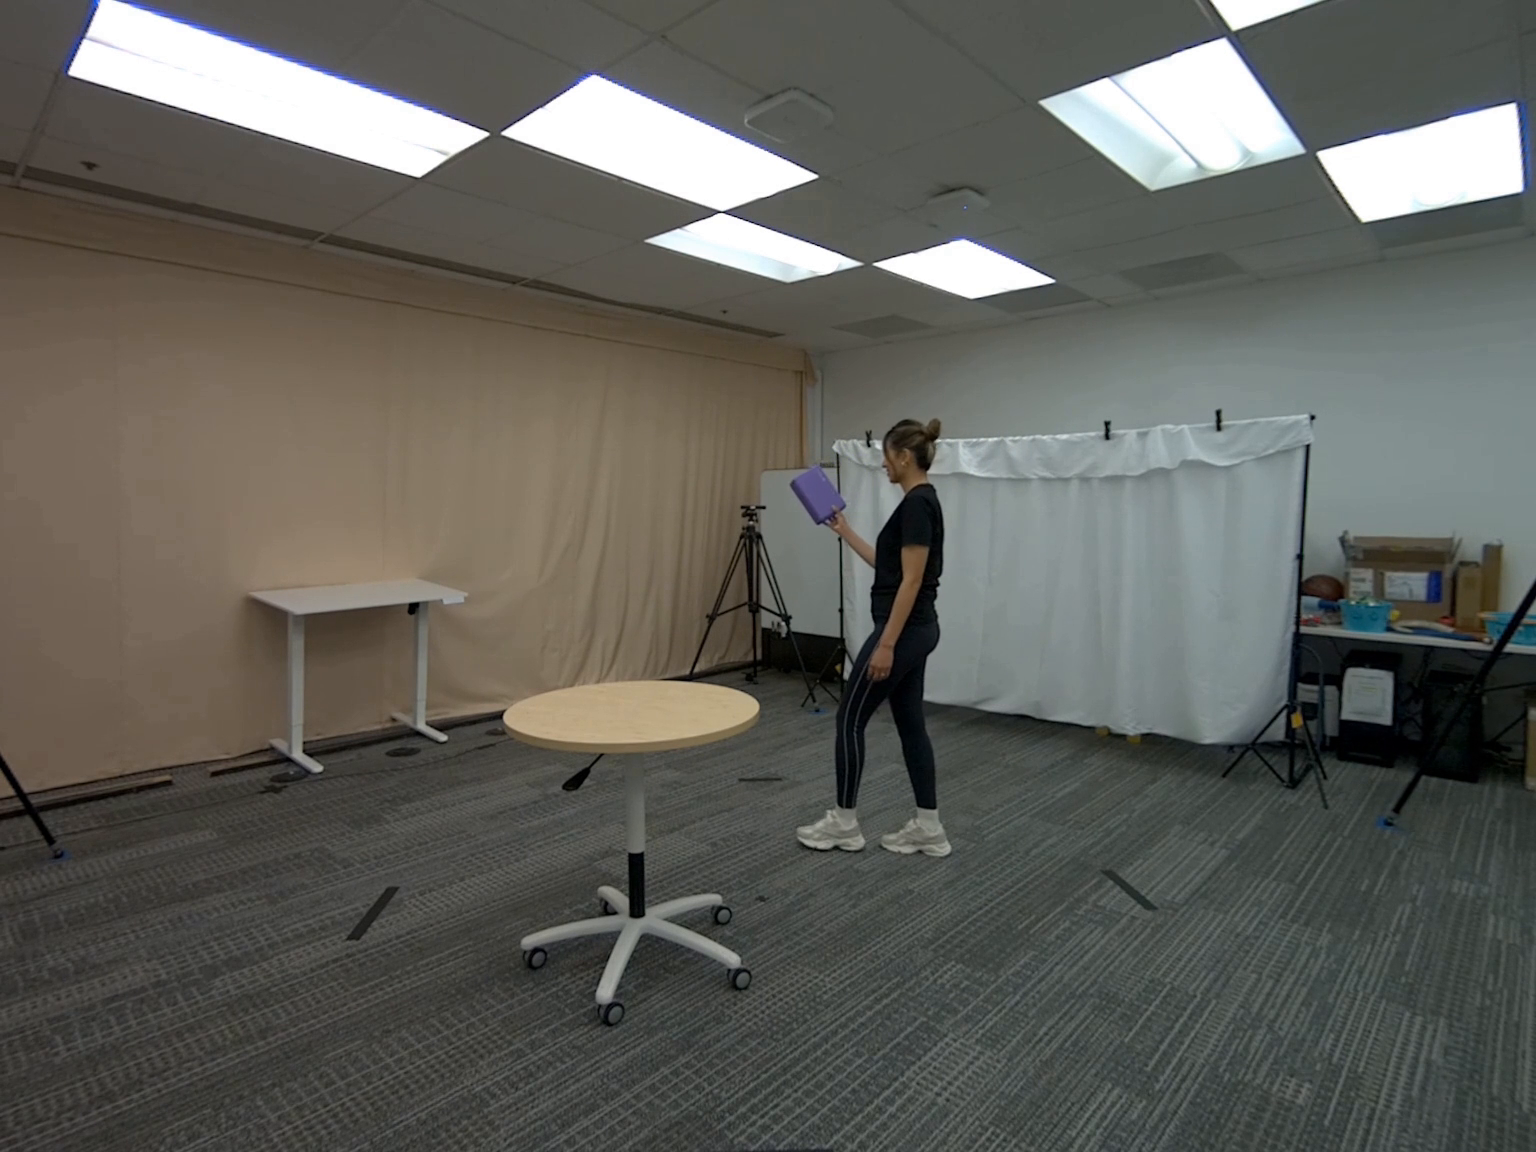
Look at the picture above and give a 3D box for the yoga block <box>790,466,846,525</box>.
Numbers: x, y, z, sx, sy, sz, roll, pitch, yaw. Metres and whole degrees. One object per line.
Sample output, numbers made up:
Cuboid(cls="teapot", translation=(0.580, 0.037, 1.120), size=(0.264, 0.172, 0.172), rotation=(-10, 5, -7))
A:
Cuboid(cls="yoga block", translation=(0.226, -0.363, 3.737), size=(0.147, 0.232, 0.076), rotation=(-31, -11, -17))
